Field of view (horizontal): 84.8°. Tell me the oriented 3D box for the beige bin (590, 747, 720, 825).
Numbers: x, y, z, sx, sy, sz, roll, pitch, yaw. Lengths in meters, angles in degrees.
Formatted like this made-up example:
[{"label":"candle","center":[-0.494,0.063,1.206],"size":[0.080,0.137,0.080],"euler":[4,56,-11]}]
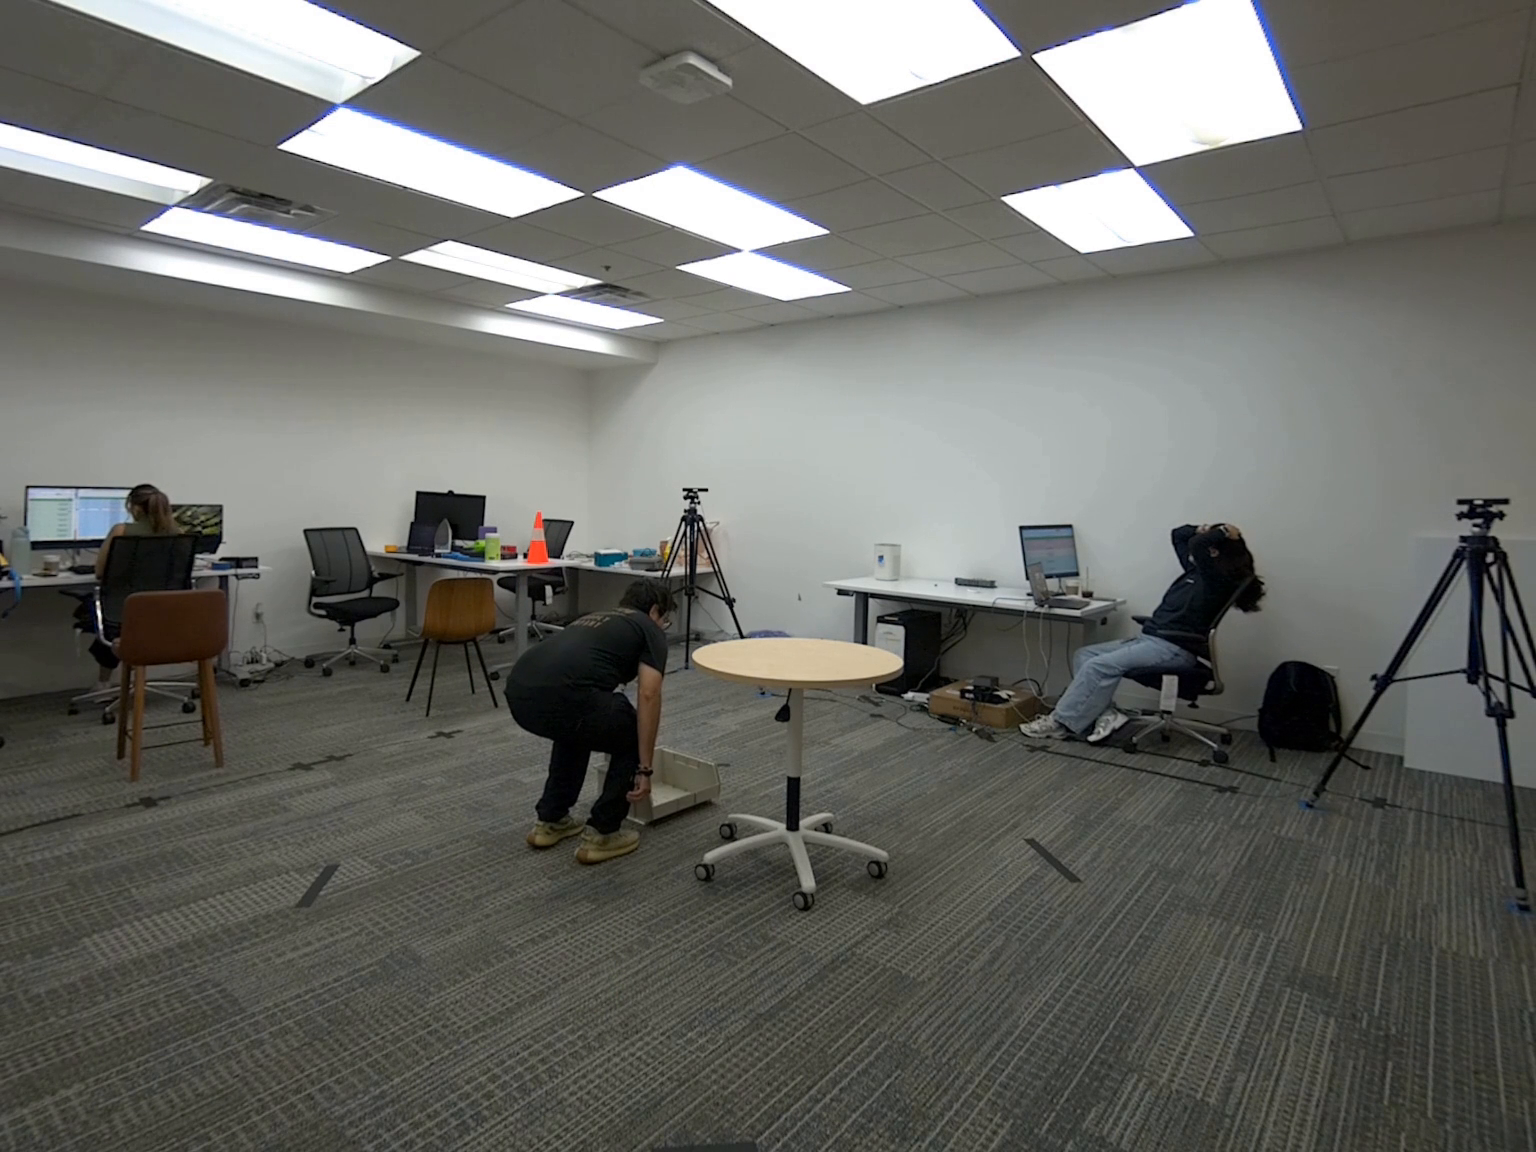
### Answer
[{"label":"beige bin","center":[-0.494,0.914,3.741],"size":[0.390,0.188,0.410],"euler":[4,6,41]}]
